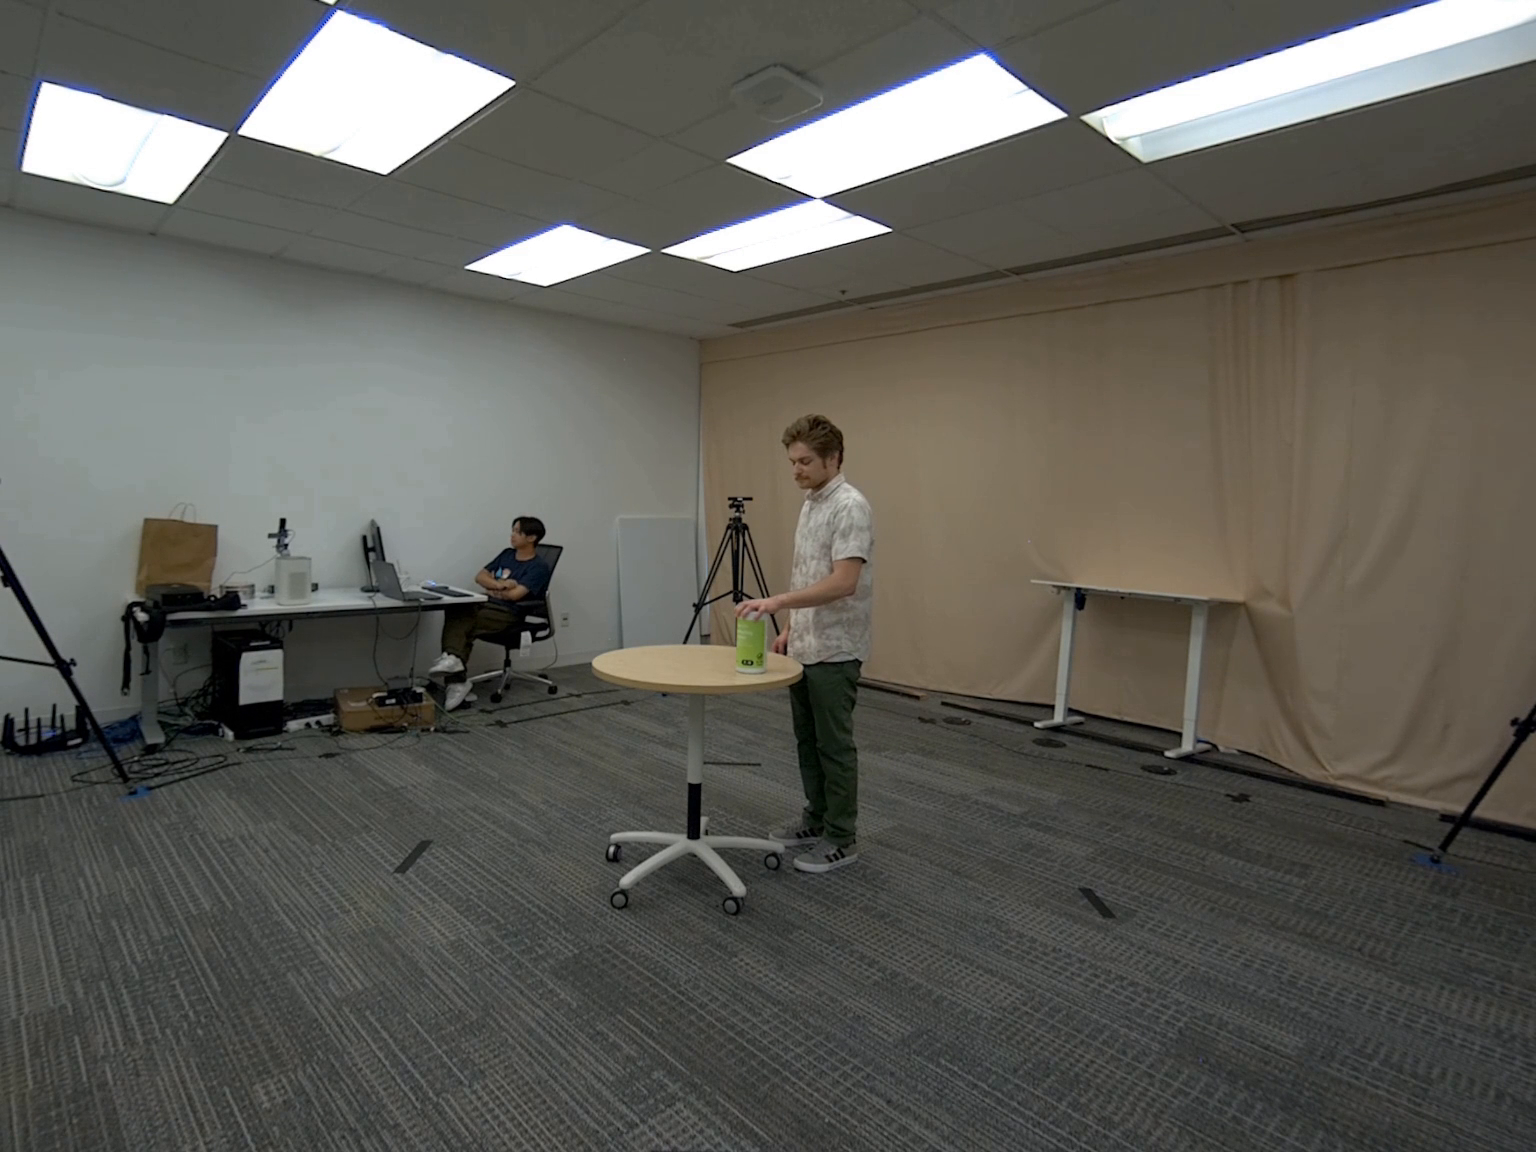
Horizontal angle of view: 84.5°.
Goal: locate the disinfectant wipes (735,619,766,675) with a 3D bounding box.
[{"bbox_3d":[-0.058,0.229,2.939,0.118,0.217,0.118,3,5,-2],"label":"disinfectant wipes"}]
